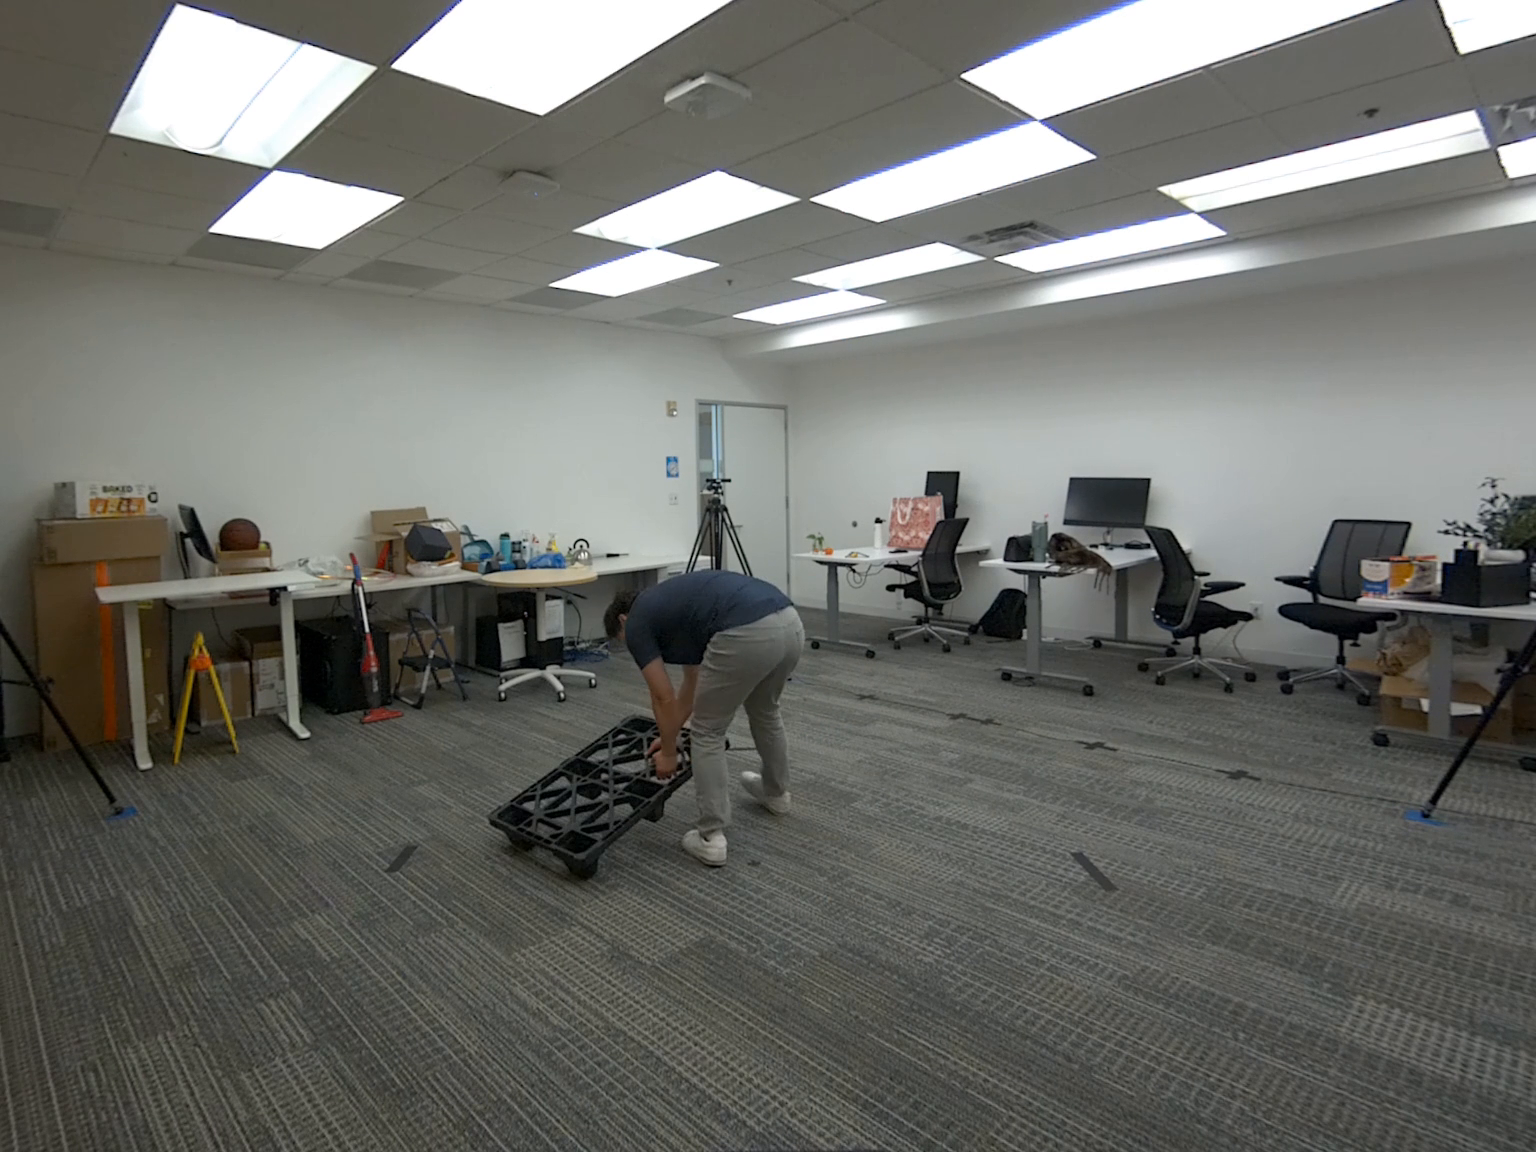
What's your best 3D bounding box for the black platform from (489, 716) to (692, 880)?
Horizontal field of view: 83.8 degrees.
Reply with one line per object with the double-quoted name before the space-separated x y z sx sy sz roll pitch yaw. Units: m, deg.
"black platform" -0.598 0.854 3.395 0.623 0.140 0.797 4 26 41
